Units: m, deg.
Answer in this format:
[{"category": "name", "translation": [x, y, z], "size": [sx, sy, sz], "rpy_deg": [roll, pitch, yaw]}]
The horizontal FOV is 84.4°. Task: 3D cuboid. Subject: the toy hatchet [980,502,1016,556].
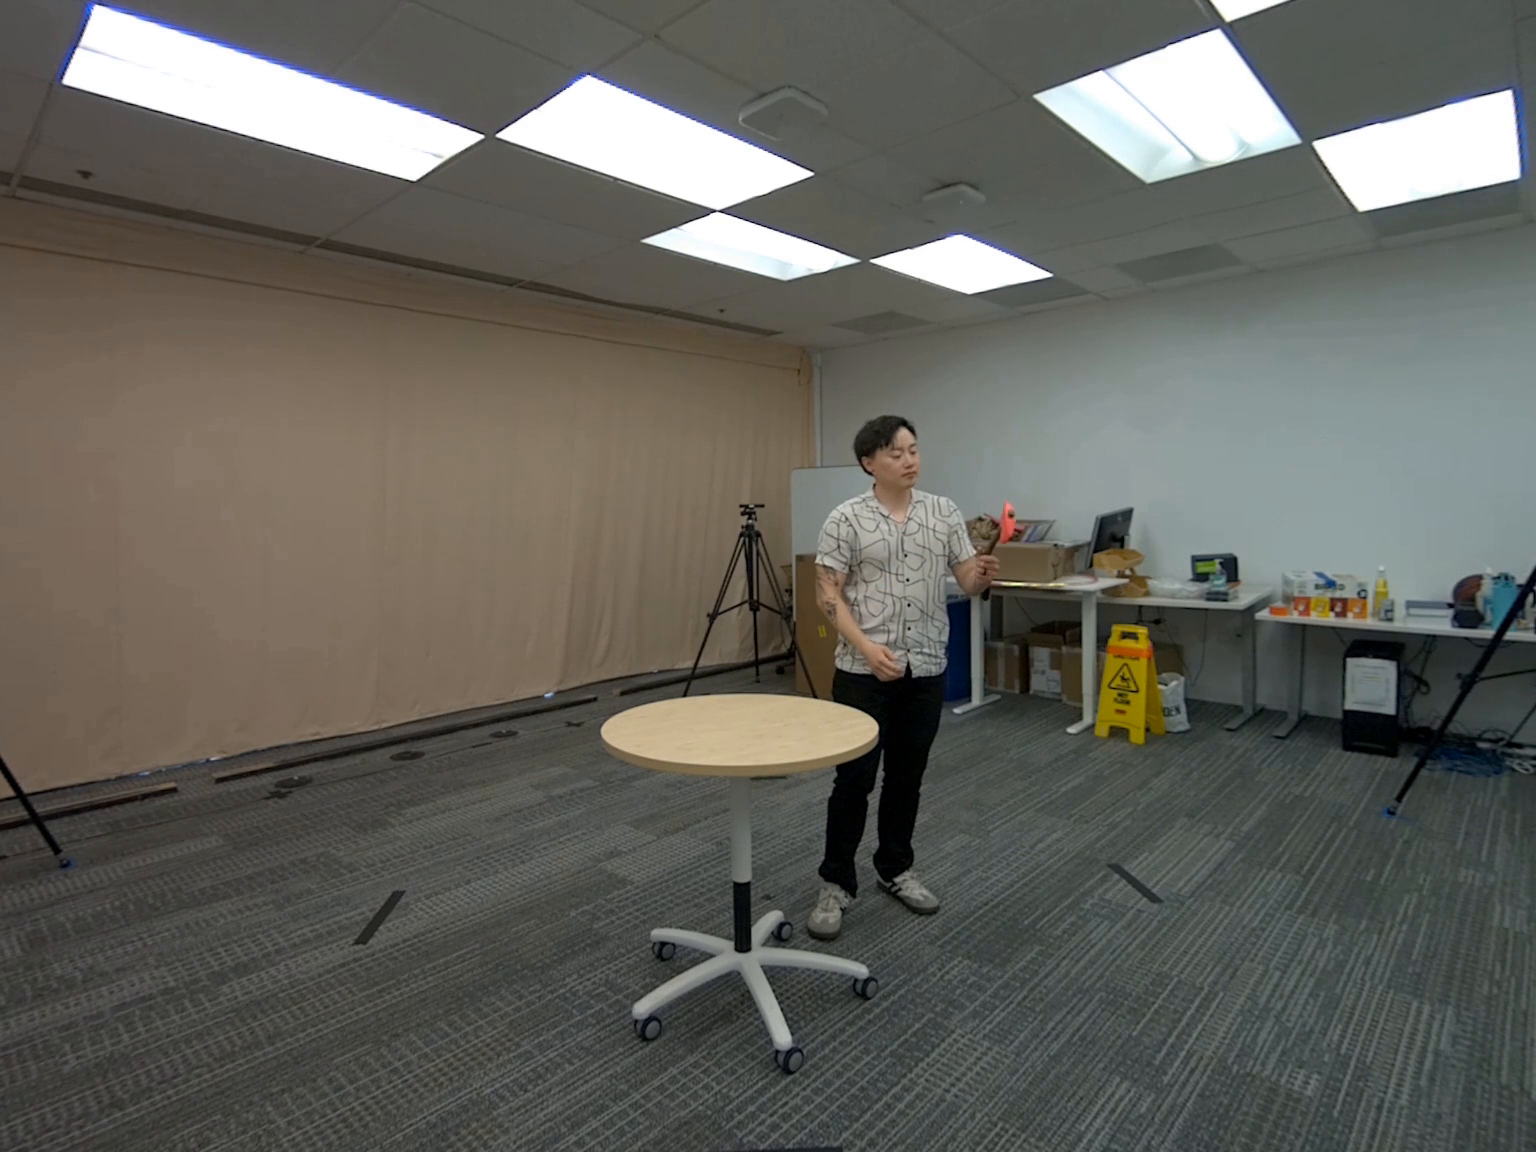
[{"category": "toy hatchet", "translation": [0.686, -0.076, 2.480], "size": [0.029, 0.267, 0.133], "rpy_deg": [11, 35, -8]}]
